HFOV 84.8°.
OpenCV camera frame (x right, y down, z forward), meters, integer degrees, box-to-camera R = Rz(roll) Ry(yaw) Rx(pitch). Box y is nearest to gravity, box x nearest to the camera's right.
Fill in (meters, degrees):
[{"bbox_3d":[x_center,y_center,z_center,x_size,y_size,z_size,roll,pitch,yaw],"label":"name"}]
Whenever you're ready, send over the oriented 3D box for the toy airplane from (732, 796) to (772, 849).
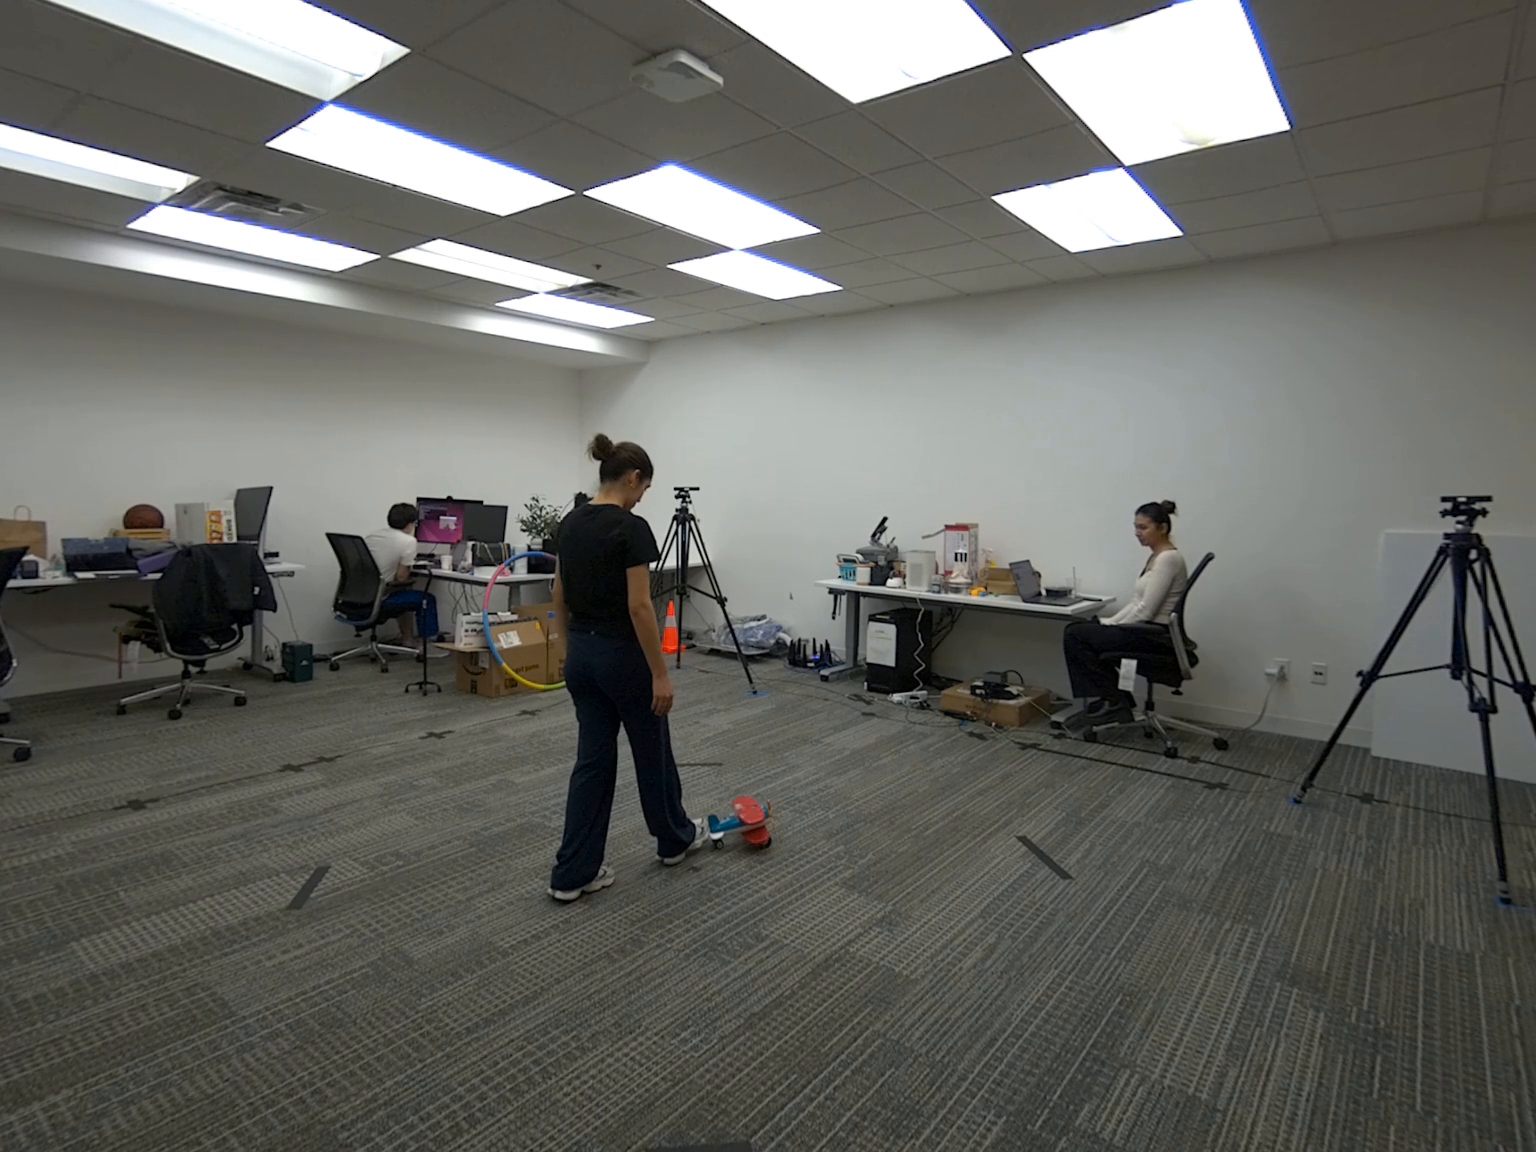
[{"bbox_3d":[-0.086,0.971,3.320,0.251,0.156,0.260,-1,6,-42],"label":"toy airplane"}]
